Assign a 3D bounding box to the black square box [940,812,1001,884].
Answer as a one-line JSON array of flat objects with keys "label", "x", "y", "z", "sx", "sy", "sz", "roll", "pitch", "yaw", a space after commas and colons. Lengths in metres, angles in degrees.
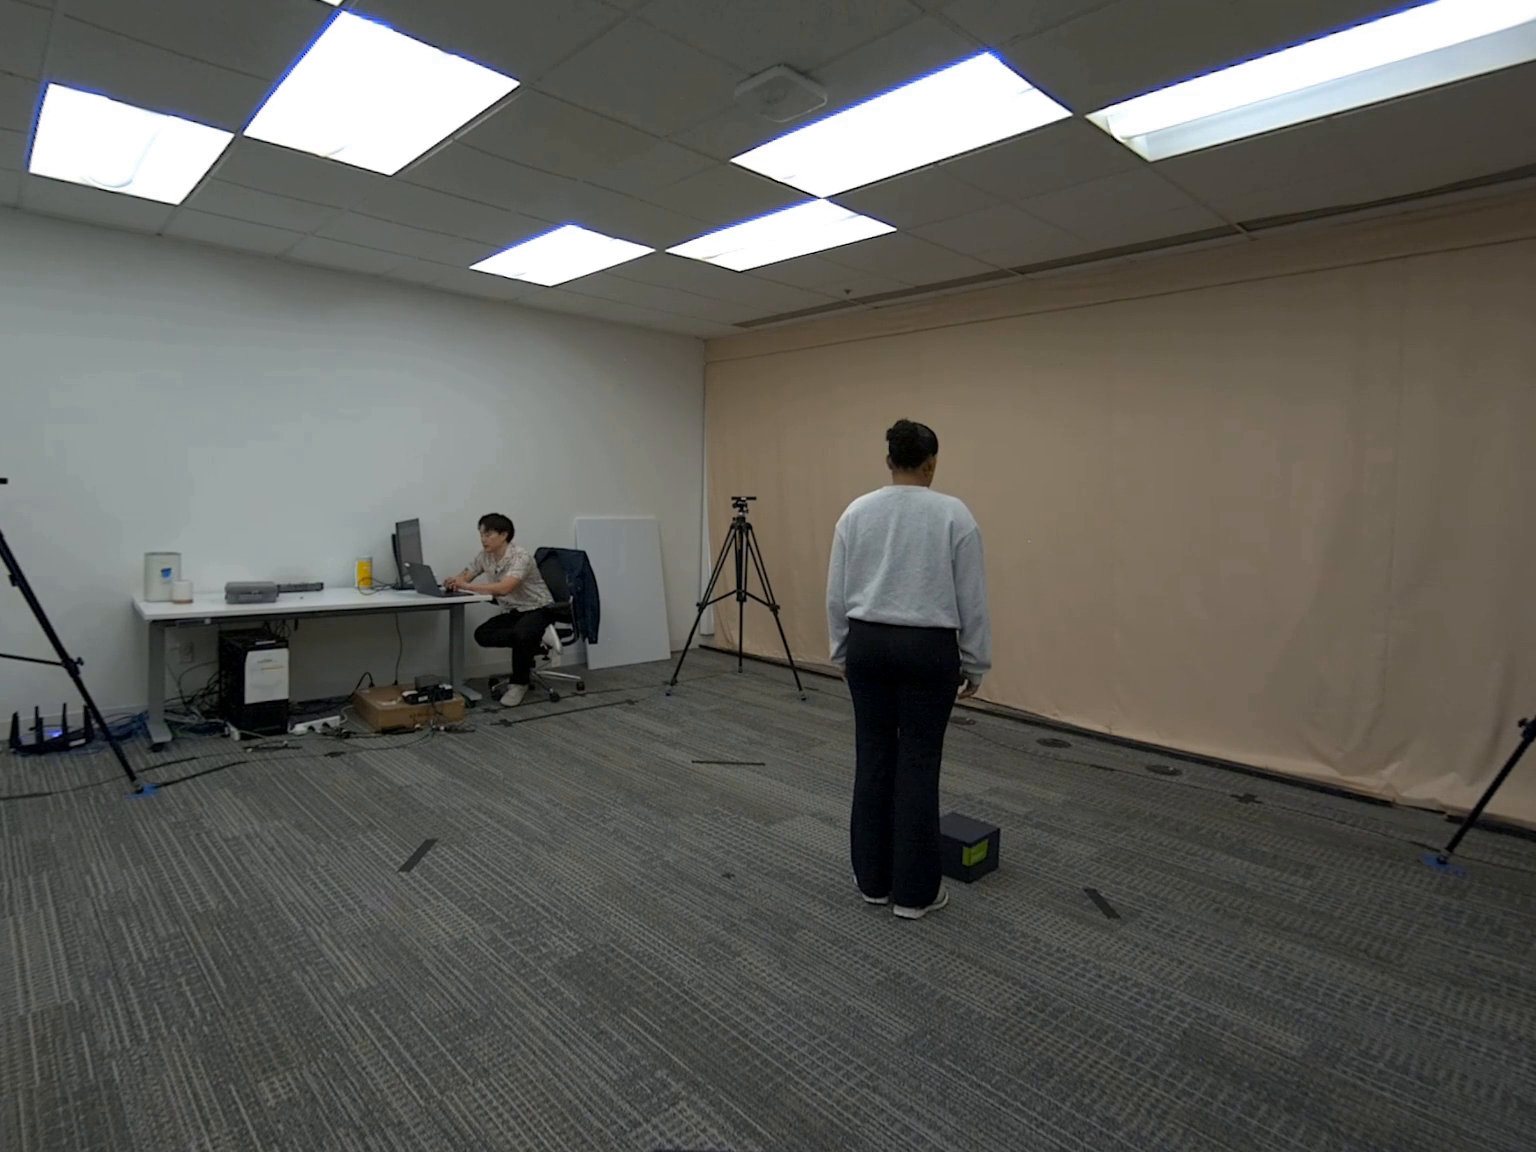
[{"label": "black square box", "x": 0.726, "y": 1.034, "z": 3.228, "sx": 0.222, "sy": 0.155, "sz": 0.223, "roll": 6, "pitch": 6, "yaw": 43}]
